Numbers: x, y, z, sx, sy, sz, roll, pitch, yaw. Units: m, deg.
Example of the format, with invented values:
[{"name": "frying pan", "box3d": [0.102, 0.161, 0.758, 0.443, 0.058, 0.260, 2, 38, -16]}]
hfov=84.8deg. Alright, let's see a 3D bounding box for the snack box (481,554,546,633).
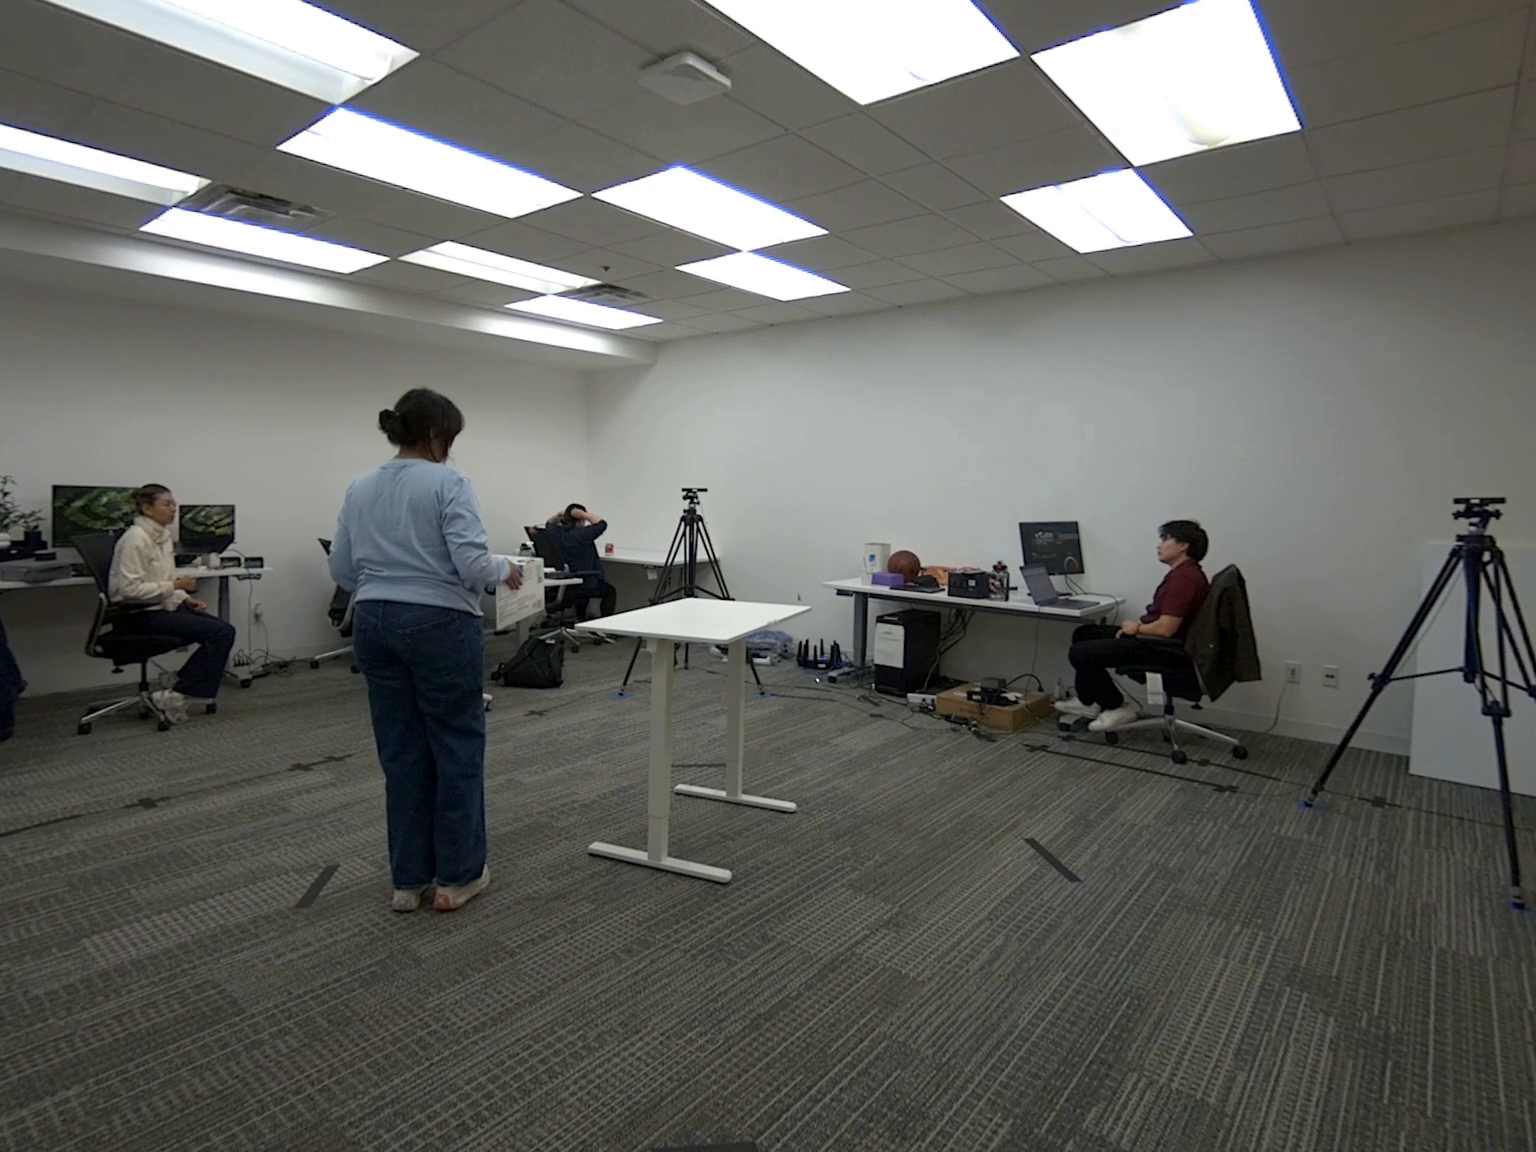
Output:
[{"name": "snack box", "box3d": [-1.102, 0.048, 3.154, 0.412, 0.204, 0.338, 4, 11, 15]}]
